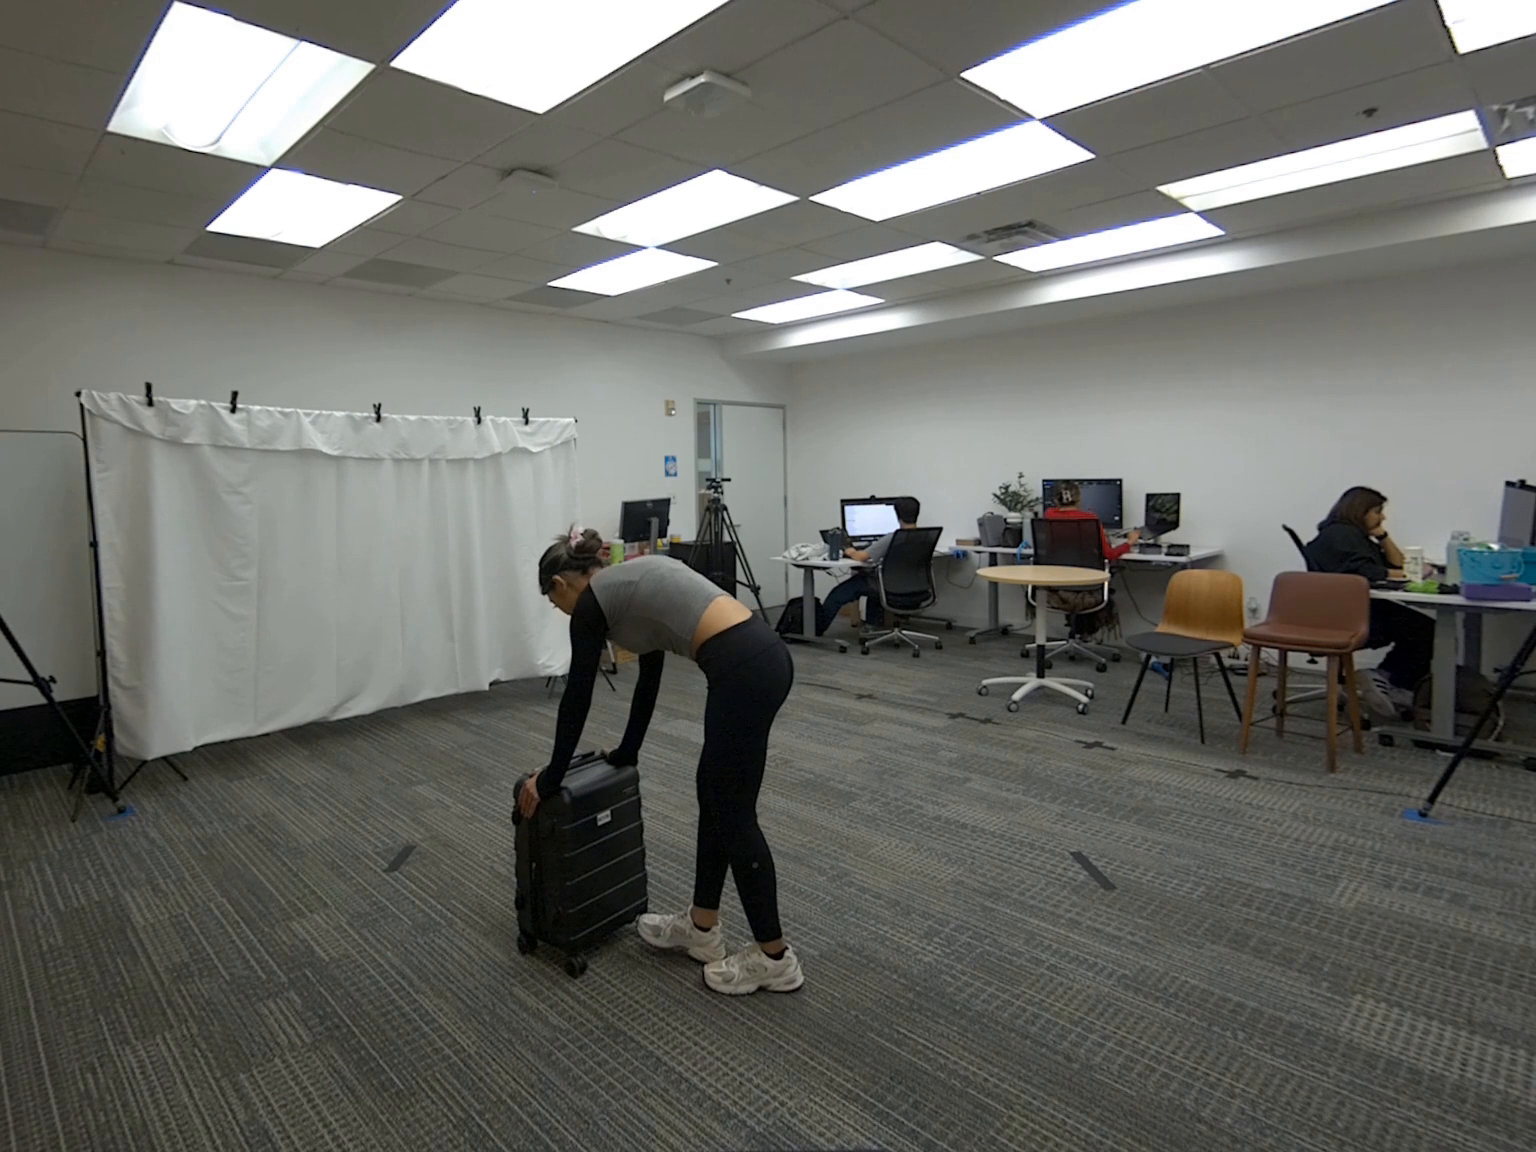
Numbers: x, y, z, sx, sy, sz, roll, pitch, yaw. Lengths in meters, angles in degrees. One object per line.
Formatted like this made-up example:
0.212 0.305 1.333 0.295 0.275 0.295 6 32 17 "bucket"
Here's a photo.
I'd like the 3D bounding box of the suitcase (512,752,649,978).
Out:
-0.565 0.839 2.605 0.255 0.548 0.366 0 4 37 "suitcase"
